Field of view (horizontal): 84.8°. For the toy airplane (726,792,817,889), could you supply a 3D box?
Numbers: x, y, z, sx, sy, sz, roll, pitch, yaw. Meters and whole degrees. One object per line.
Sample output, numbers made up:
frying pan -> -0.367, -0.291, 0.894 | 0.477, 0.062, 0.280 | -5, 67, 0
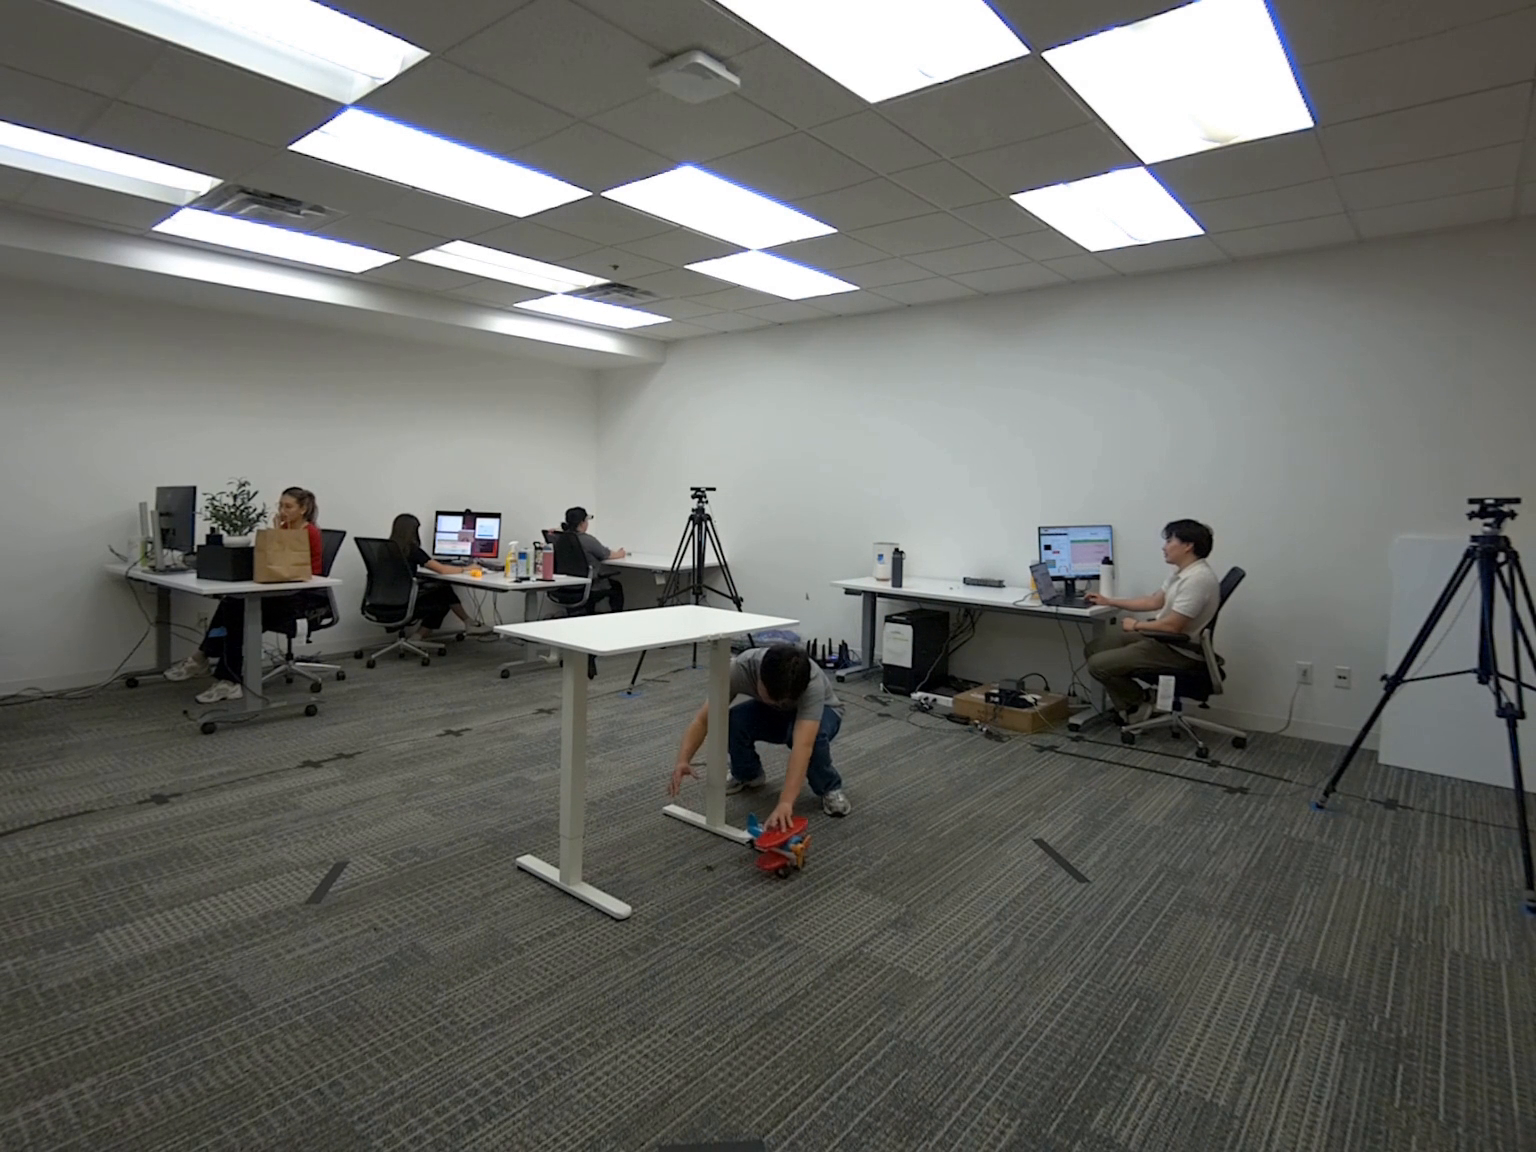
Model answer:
toy airplane -> 0.014, 0.967, 3.101 | 0.263, 0.154, 0.250 | 13, 18, 11
